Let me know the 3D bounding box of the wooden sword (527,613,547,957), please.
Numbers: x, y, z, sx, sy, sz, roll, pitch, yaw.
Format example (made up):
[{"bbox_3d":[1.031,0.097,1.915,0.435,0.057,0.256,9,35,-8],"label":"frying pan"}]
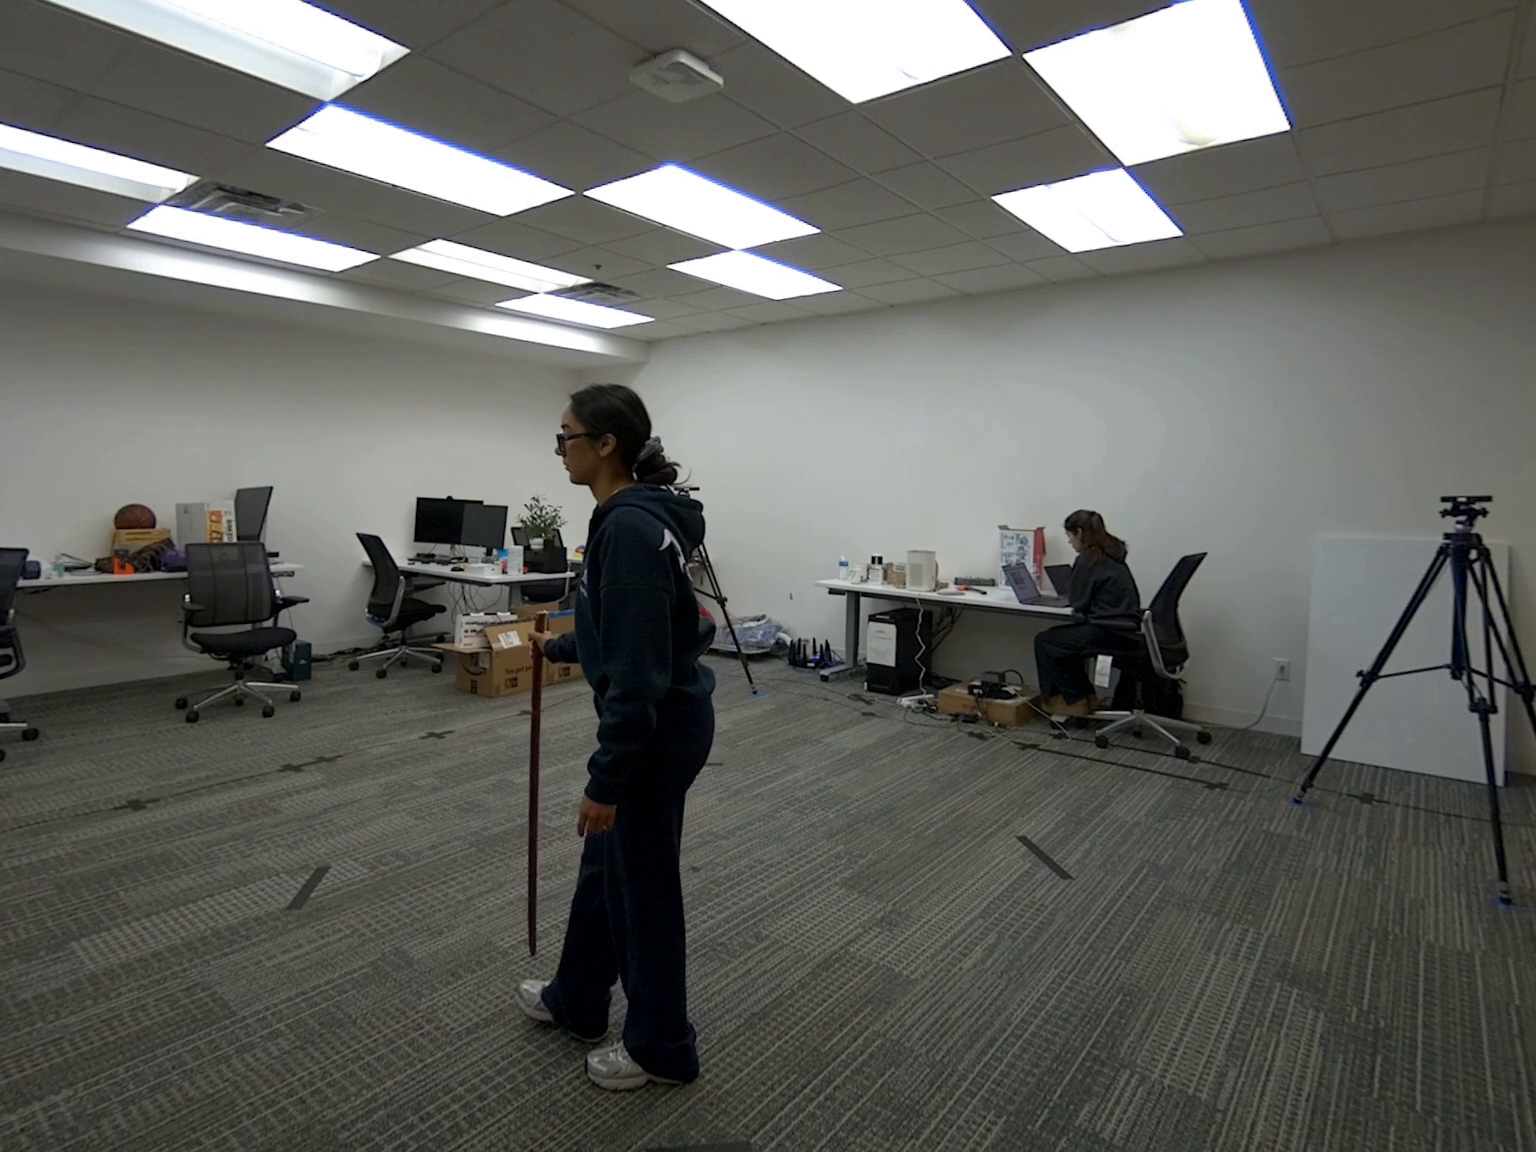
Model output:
[{"bbox_3d":[-0.682,0.623,2.458,0.024,1.020,0.052,4,5,-4],"label":"wooden sword"}]
